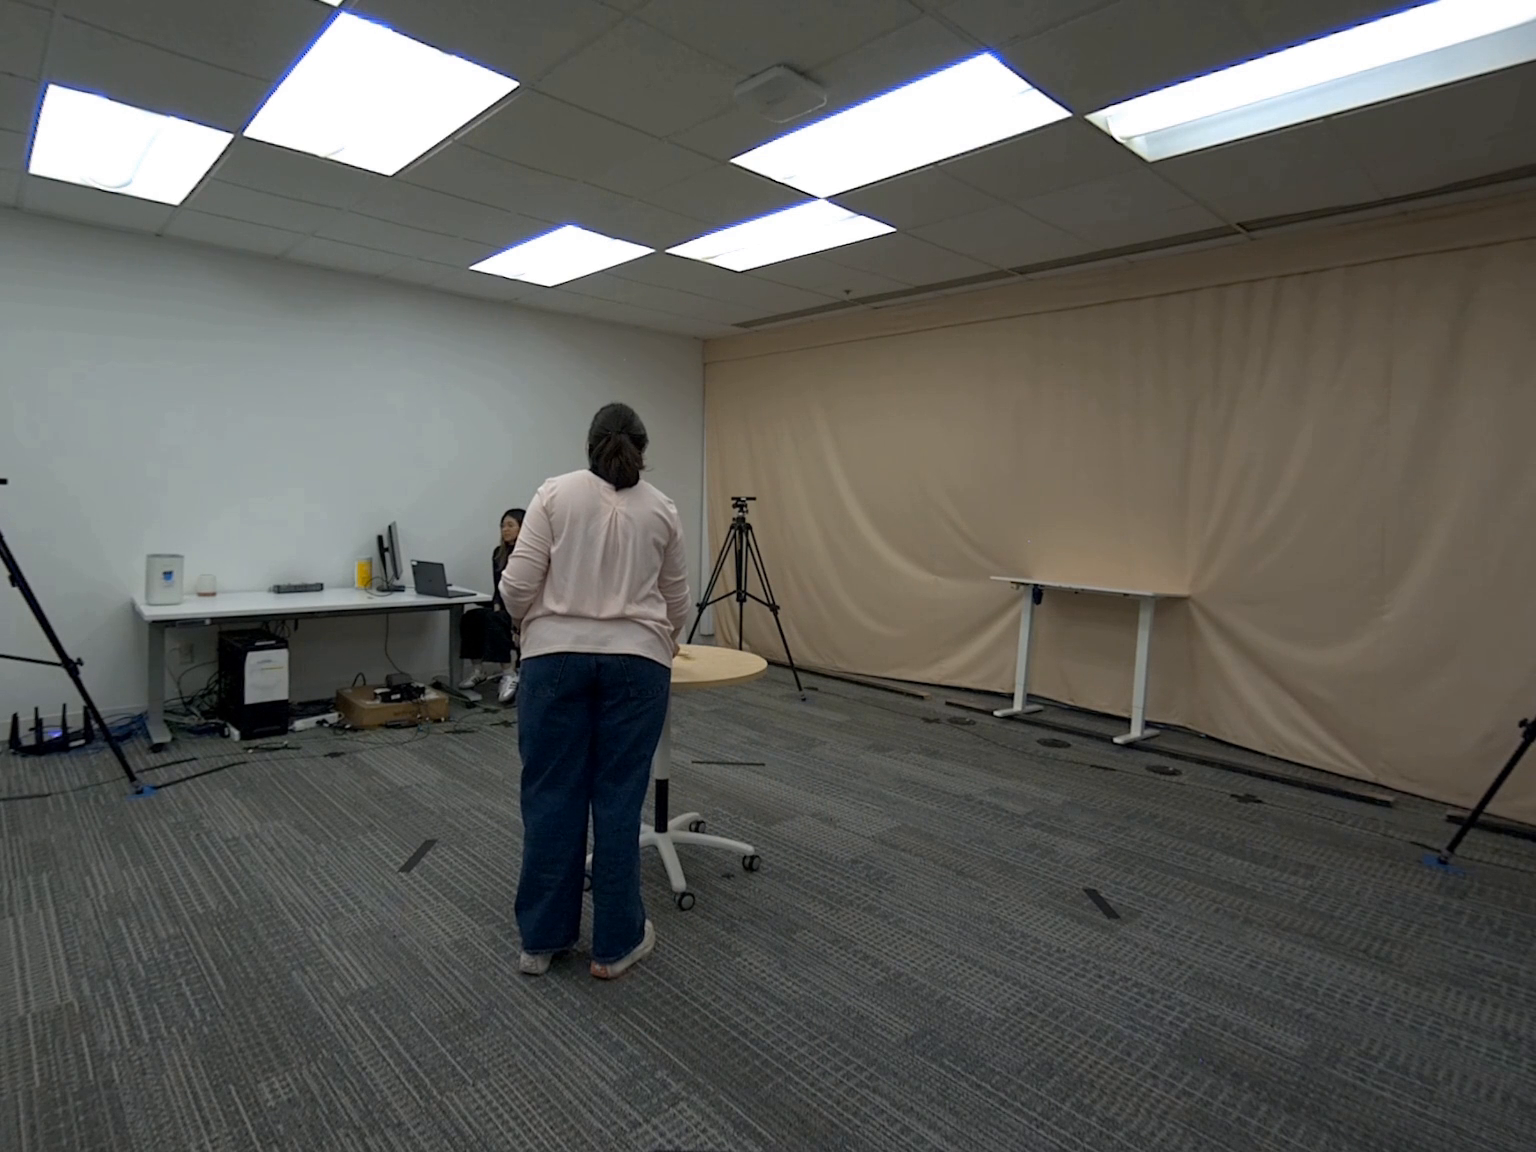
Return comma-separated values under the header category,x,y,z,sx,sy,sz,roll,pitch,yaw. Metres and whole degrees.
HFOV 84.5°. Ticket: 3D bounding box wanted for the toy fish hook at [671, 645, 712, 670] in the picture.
category,x,y,z,sx,sy,sz,roll,pitch,yaw
toy fish hook,-0.368,0.283,3.052,0.222,0.048,0.511,4,-2,-14
